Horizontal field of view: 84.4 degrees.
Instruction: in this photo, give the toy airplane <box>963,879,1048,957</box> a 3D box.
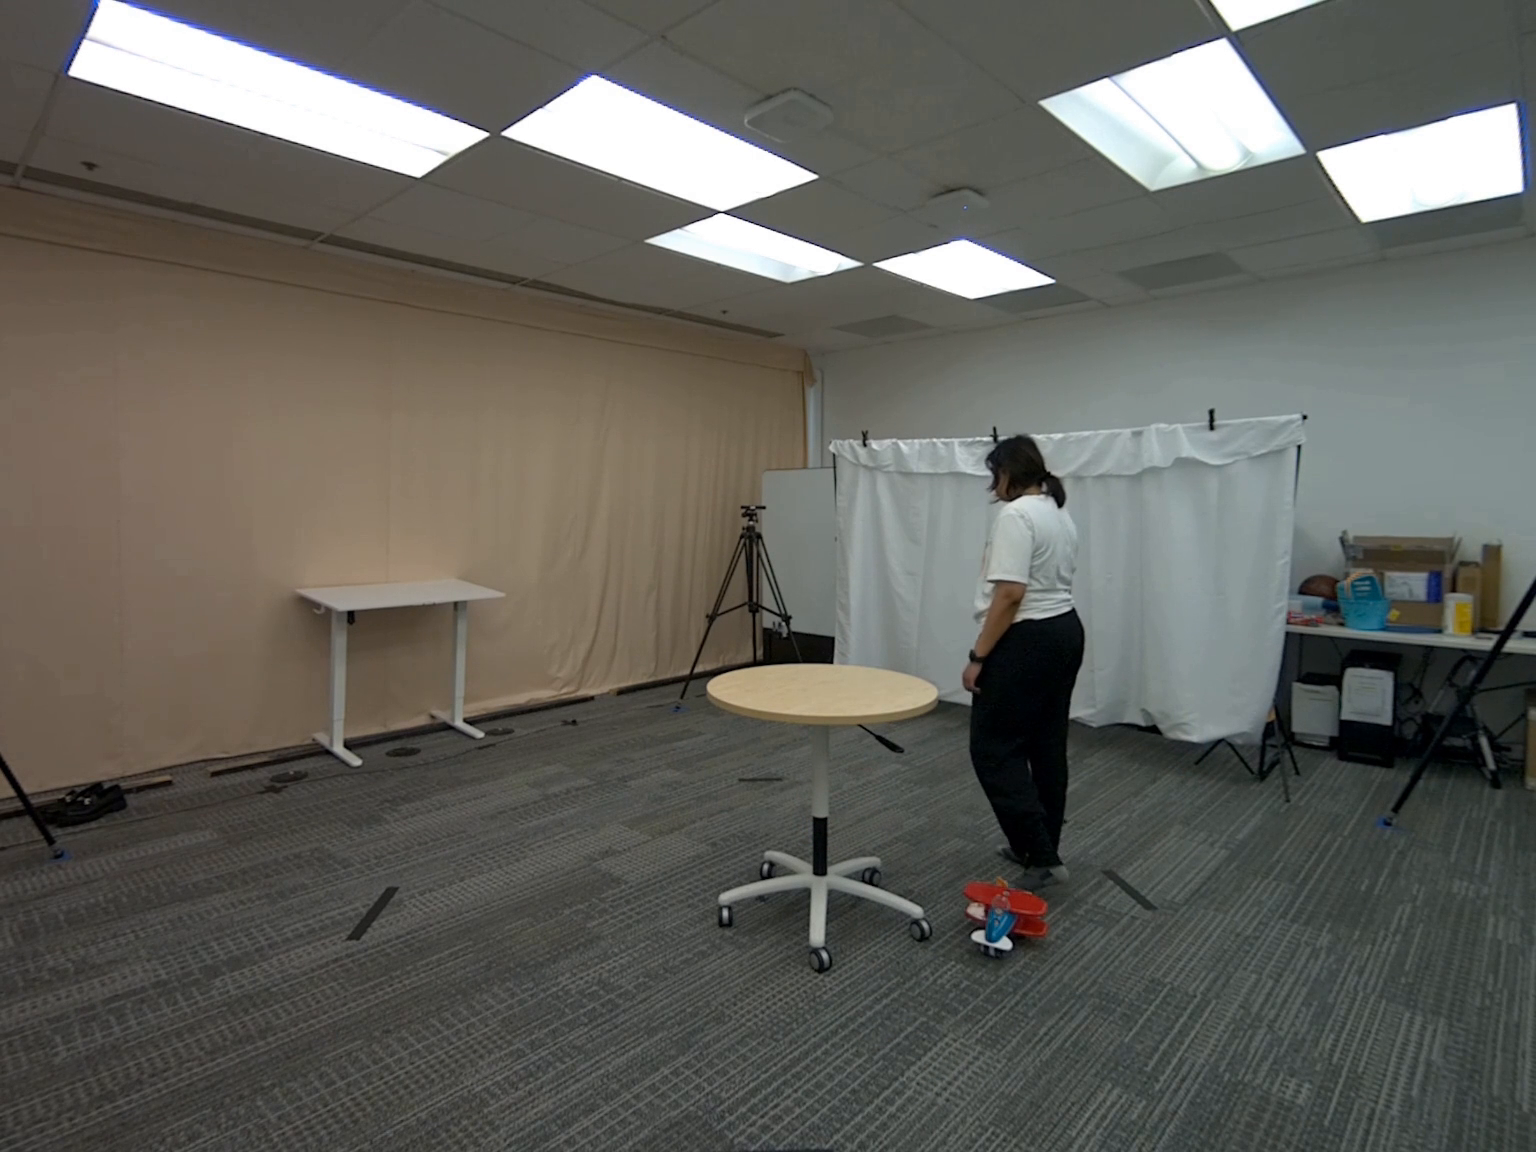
[{"bbox_3d":[0.765,1.091,2.658,0.253,0.156,0.258,1,4,5],"label":"toy airplane"}]
